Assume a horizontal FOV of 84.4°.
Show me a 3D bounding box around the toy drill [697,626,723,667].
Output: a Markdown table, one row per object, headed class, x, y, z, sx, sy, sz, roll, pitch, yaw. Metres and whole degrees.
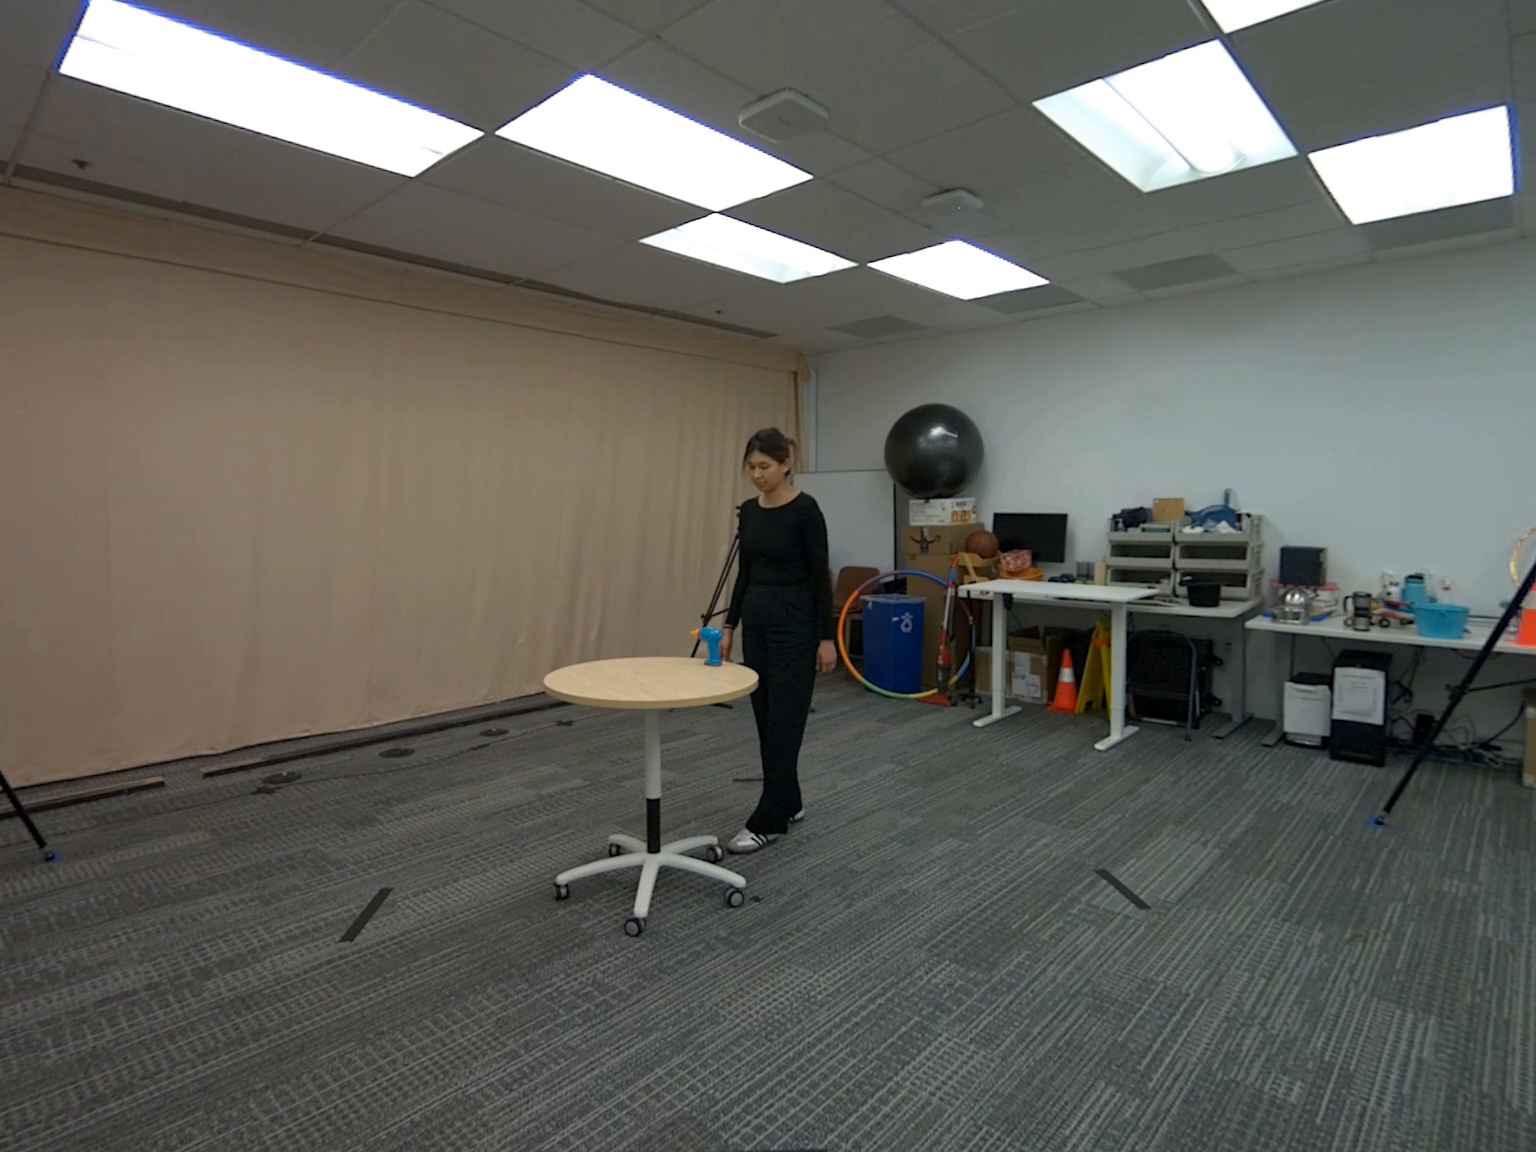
| class | x | y | z | sx | sy | sz | roll | pitch | yaw |
| --- | --- | --- | --- | --- | --- | --- | --- | --- | --- |
| toy drill | -0.239 | 0.265 | 3.260 | 0.175 | 0.145 | 0.059 | 4 | 6 | 37 |
